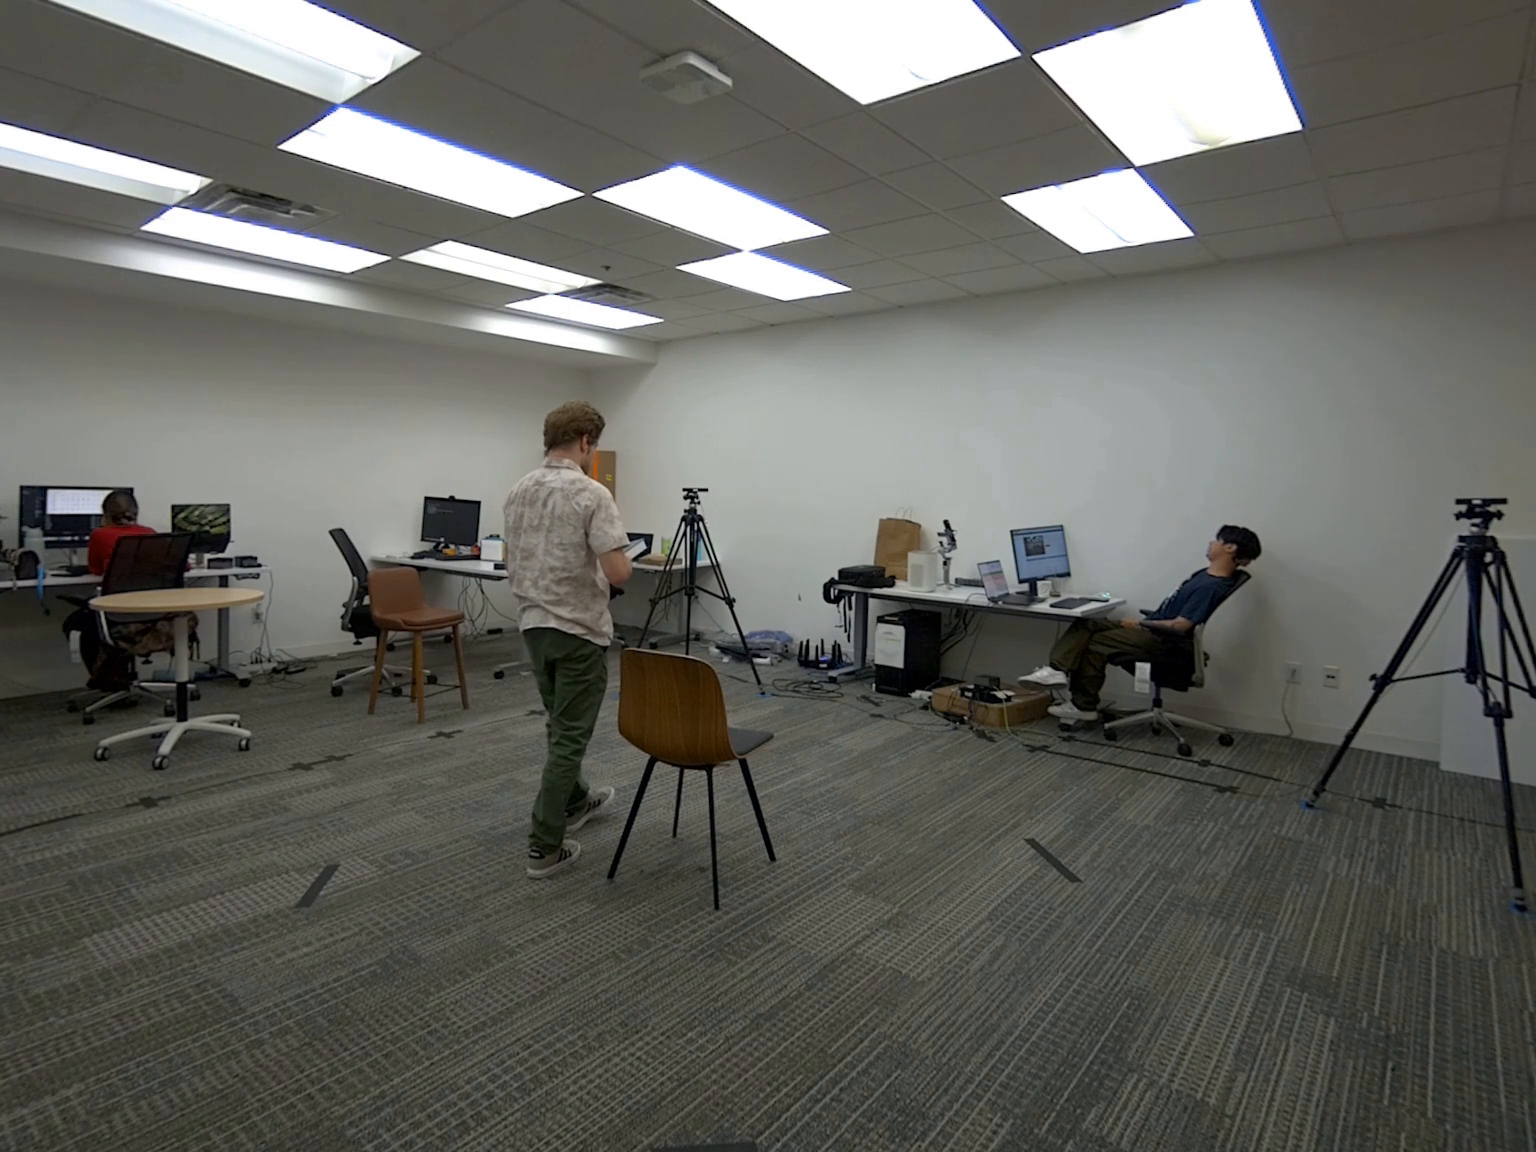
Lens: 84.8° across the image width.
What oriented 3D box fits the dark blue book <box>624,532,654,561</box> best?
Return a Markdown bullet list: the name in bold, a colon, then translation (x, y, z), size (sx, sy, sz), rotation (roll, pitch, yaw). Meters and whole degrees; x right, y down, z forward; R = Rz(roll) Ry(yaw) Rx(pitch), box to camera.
- **dark blue book**: translation (-0.628, -0.077, 3.410), size (0.167, 0.044, 0.243), rotation (-12, 17, 32)
